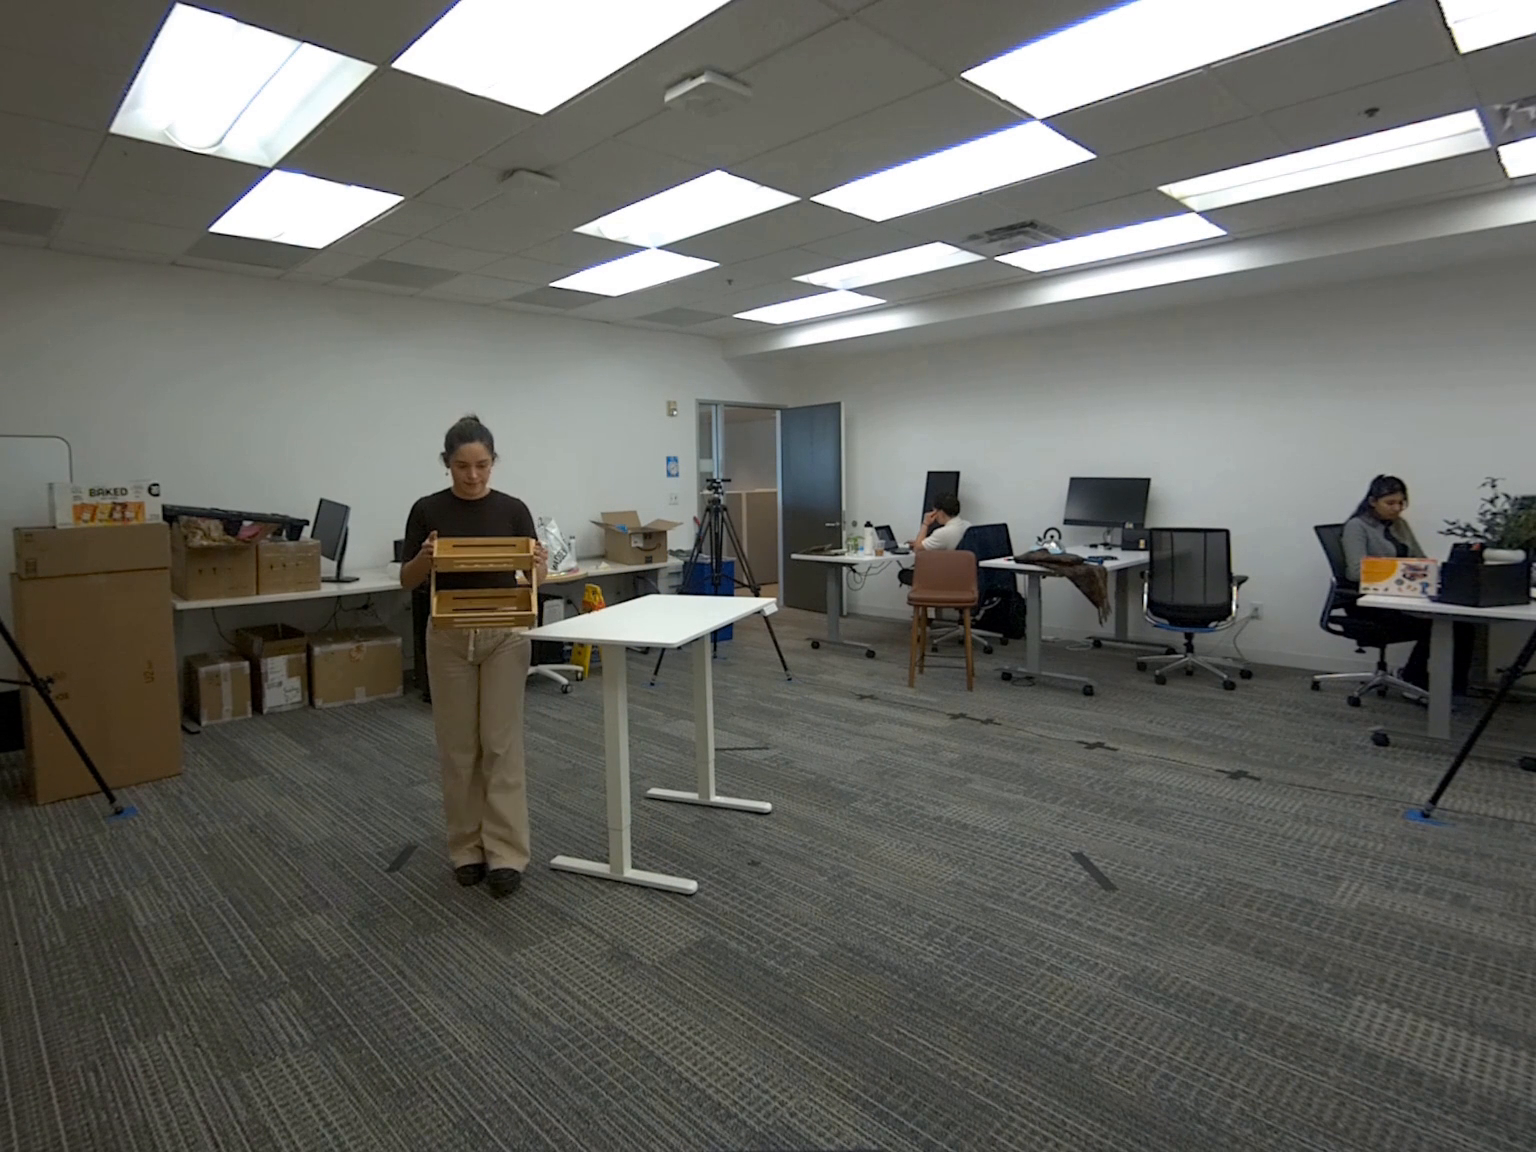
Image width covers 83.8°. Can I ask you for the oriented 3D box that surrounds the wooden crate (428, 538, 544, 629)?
[{"bbox_3d":[-0.894,0.016,2.710,0.319,0.272,0.308,-1,5,-17],"label":"wooden crate"}]
